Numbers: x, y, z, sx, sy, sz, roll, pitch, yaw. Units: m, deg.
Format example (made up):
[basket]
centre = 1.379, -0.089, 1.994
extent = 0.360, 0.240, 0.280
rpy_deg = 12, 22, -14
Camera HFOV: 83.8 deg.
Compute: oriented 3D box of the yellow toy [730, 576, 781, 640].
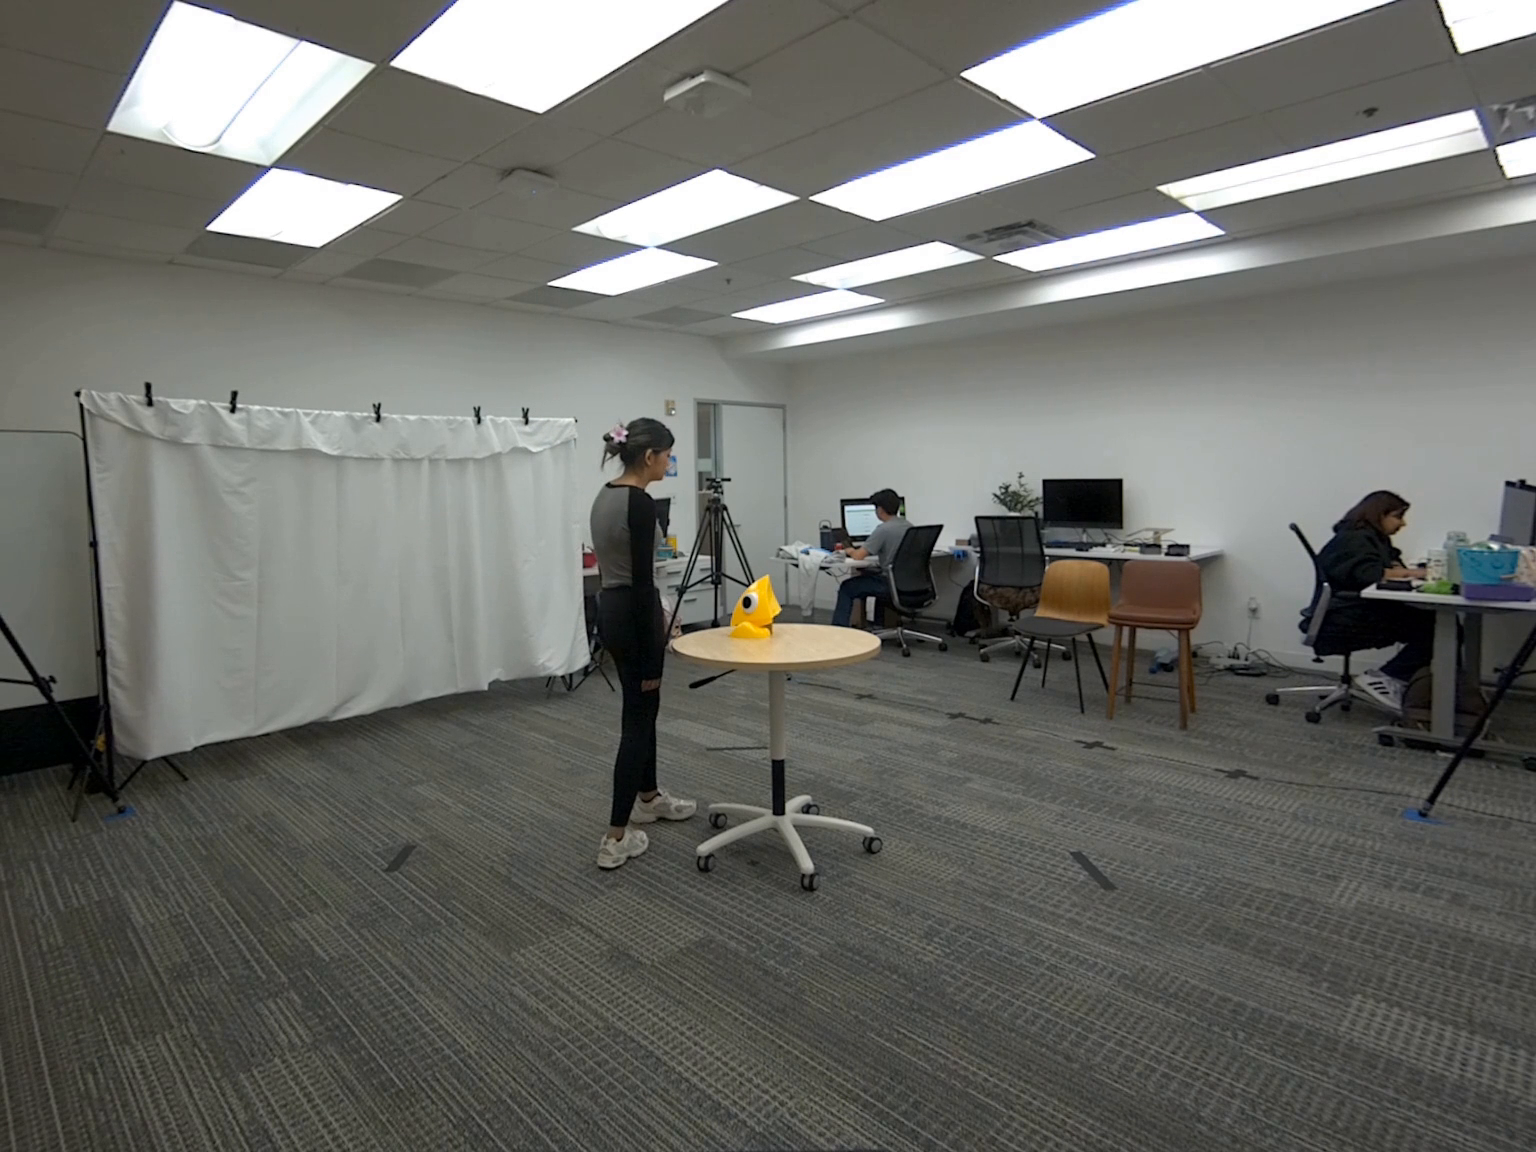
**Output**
[yellow toy]
centre = -0.056, 0.108, 3.314
extent = 0.196, 0.230, 0.203
rpy_deg = 2, 5, 13
